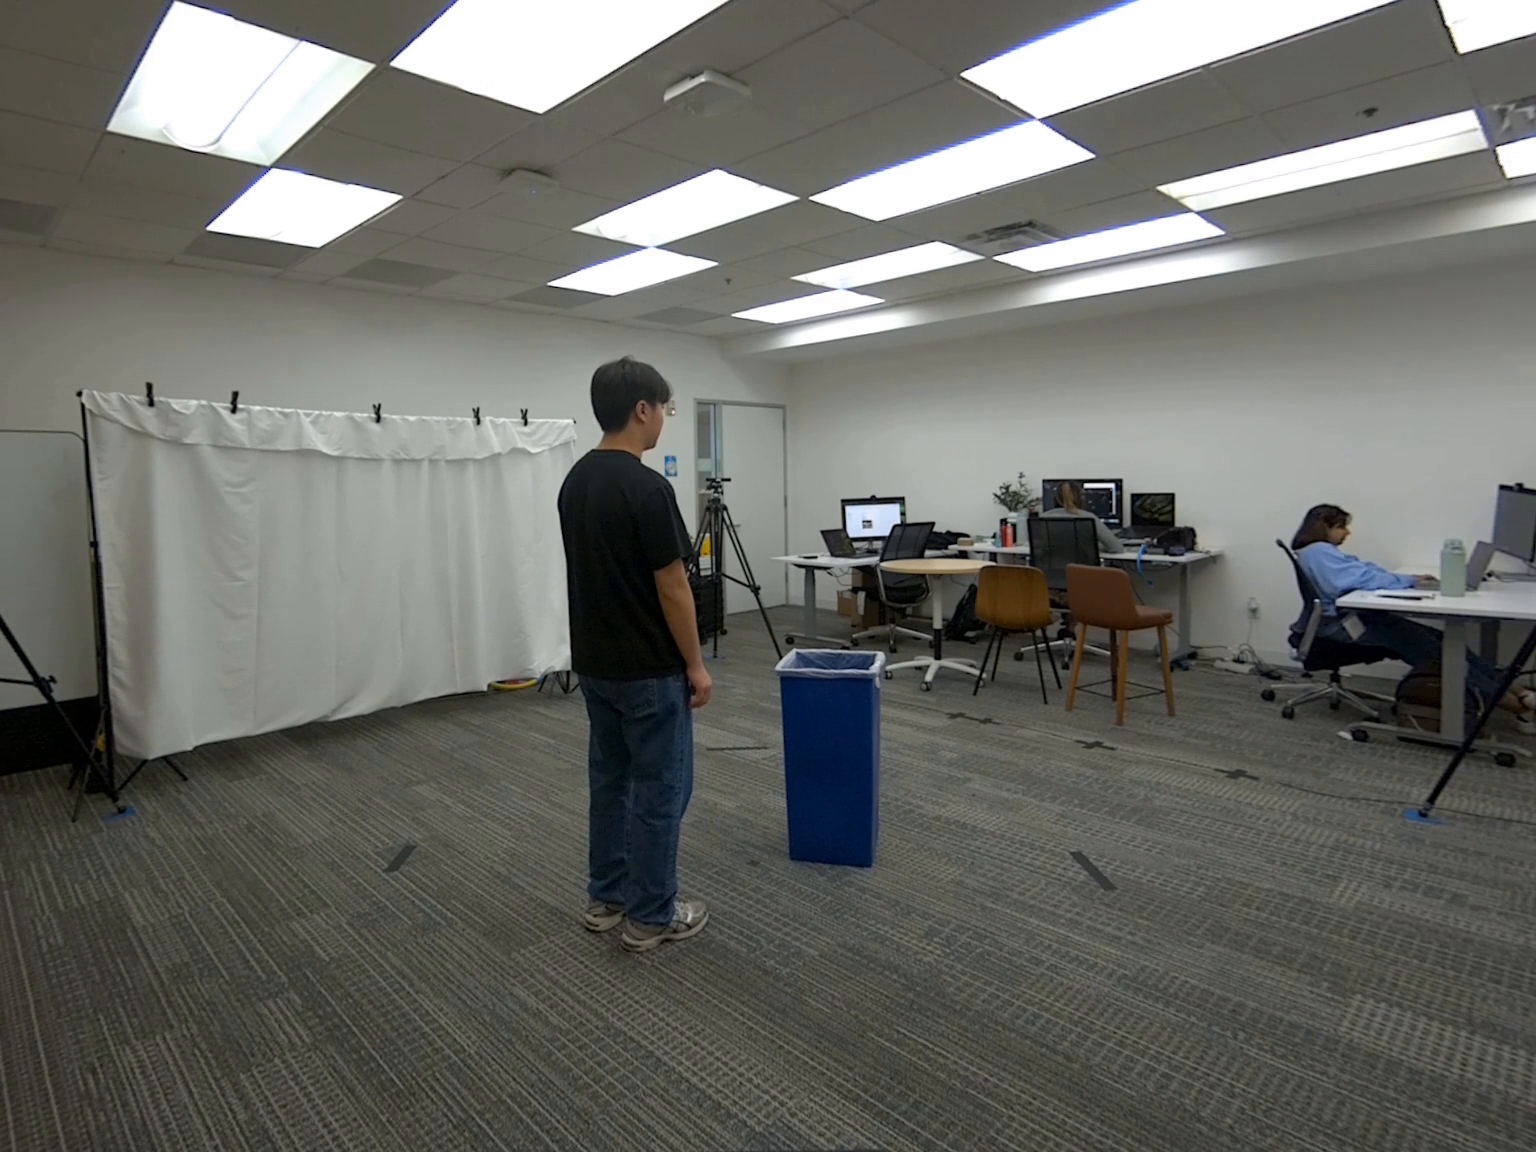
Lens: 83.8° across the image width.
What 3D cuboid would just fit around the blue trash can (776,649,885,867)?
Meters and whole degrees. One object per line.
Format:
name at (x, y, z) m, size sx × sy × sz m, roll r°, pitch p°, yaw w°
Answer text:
blue trash can at (0.255, 0.665, 3.211) m, size 0.379 × 0.711 × 0.374 m, roll -2°, pitch 4°, yaw 14°
